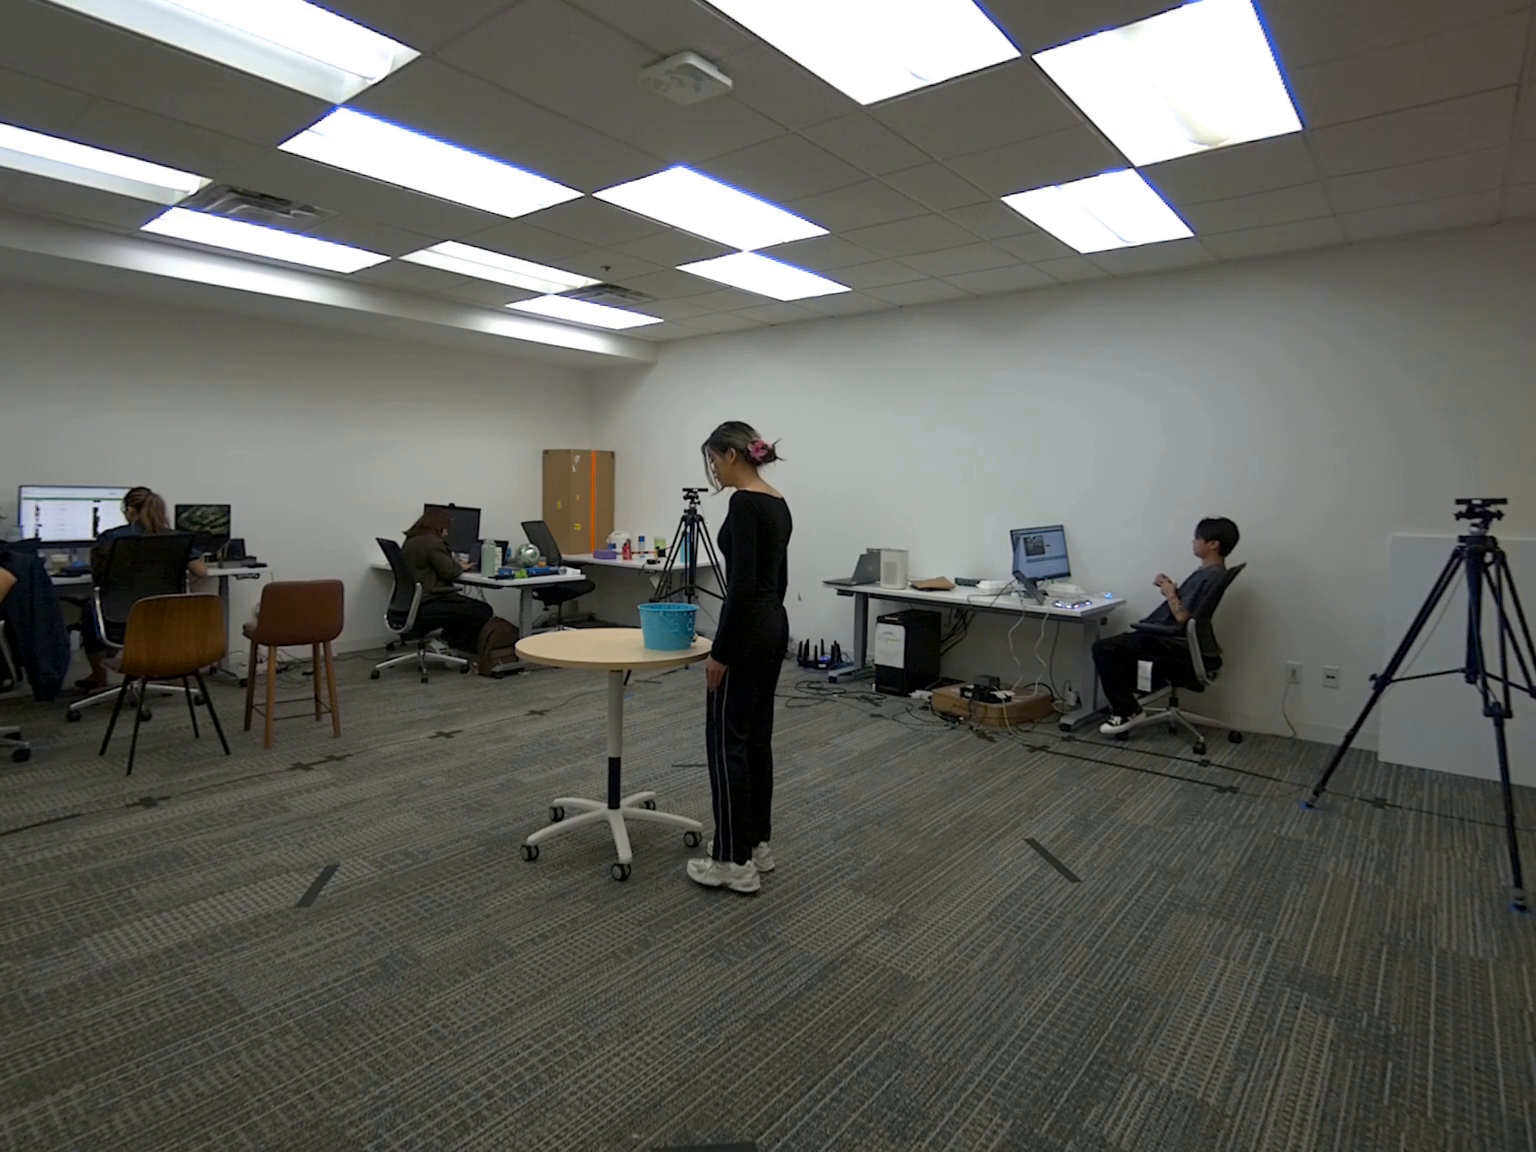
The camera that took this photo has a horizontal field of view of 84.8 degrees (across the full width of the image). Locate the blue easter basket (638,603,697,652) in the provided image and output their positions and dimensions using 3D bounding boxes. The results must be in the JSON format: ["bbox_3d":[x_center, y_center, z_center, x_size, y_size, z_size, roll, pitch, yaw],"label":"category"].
[{"bbox_3d":[-0.388,0.190,3.264,0.243,0.155,0.245,1,4,-2],"label":"blue easter basket"}]
